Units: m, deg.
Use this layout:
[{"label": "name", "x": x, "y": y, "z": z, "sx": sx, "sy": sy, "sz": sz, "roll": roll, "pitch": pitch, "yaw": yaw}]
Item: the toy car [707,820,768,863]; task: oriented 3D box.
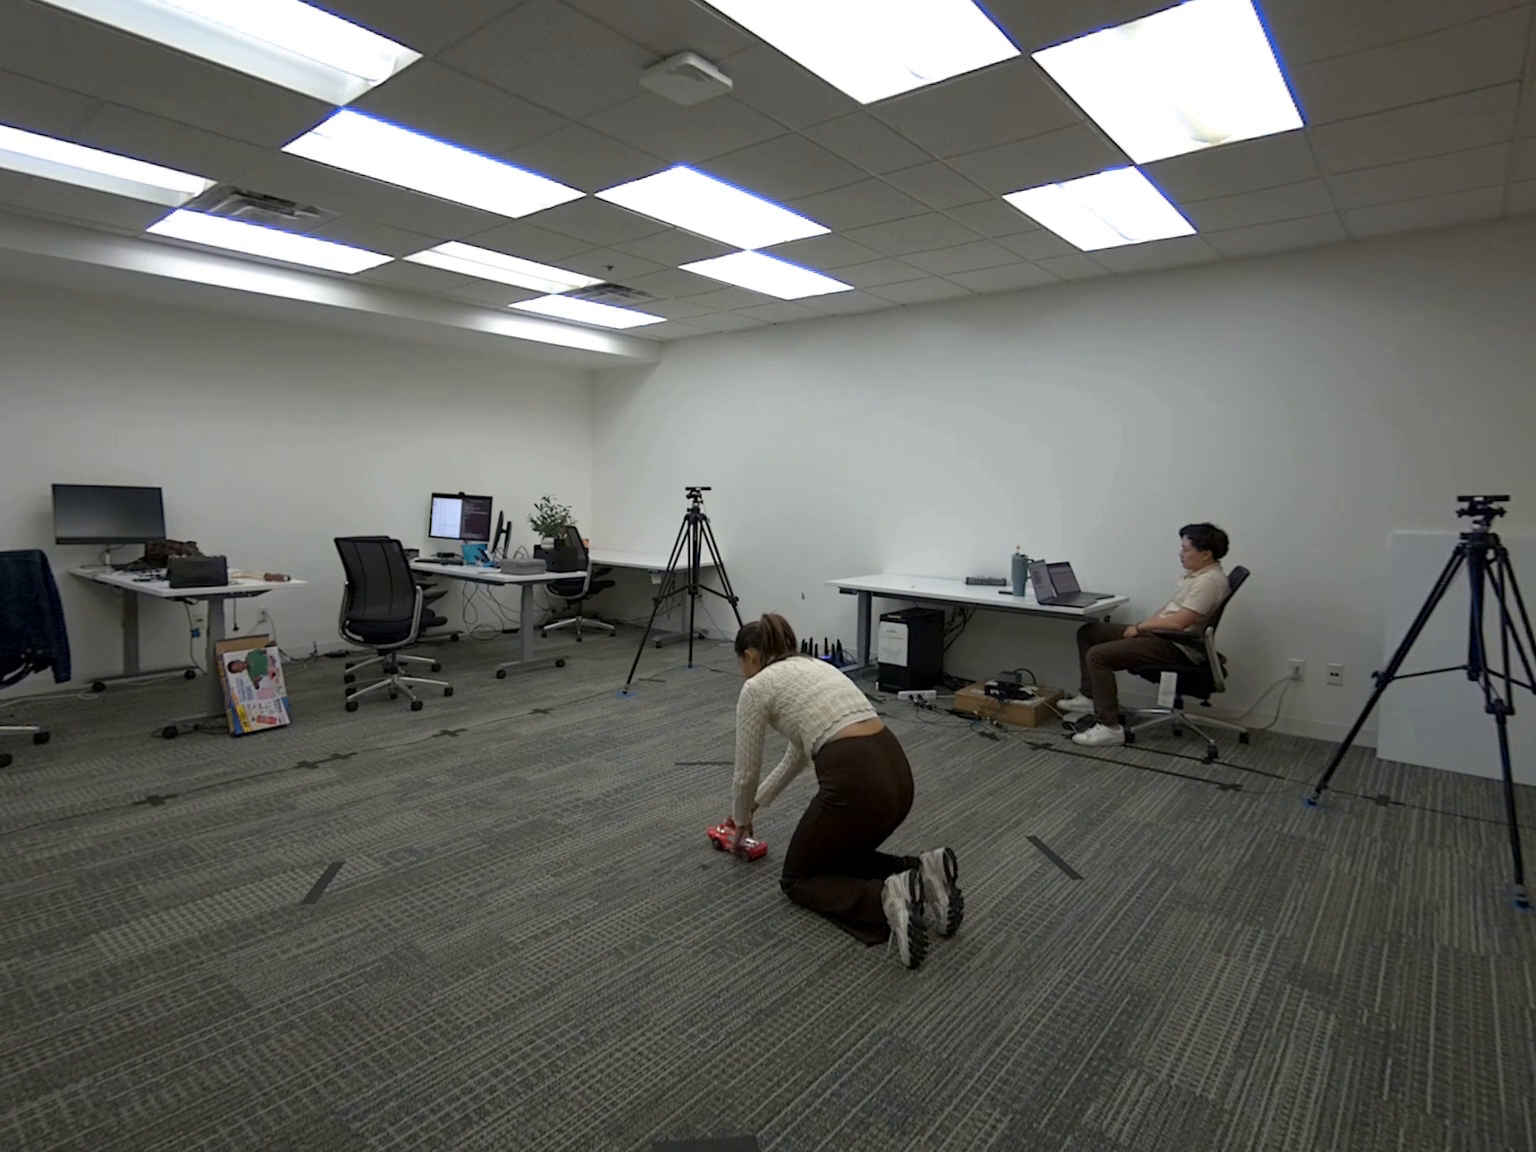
[{"label": "toy car", "x": -0.133, "y": 1.017, "z": 3.270, "sx": 0.265, "sy": 0.082, "sz": 0.126, "roll": 20, "pitch": 15, "yaw": 41}]
